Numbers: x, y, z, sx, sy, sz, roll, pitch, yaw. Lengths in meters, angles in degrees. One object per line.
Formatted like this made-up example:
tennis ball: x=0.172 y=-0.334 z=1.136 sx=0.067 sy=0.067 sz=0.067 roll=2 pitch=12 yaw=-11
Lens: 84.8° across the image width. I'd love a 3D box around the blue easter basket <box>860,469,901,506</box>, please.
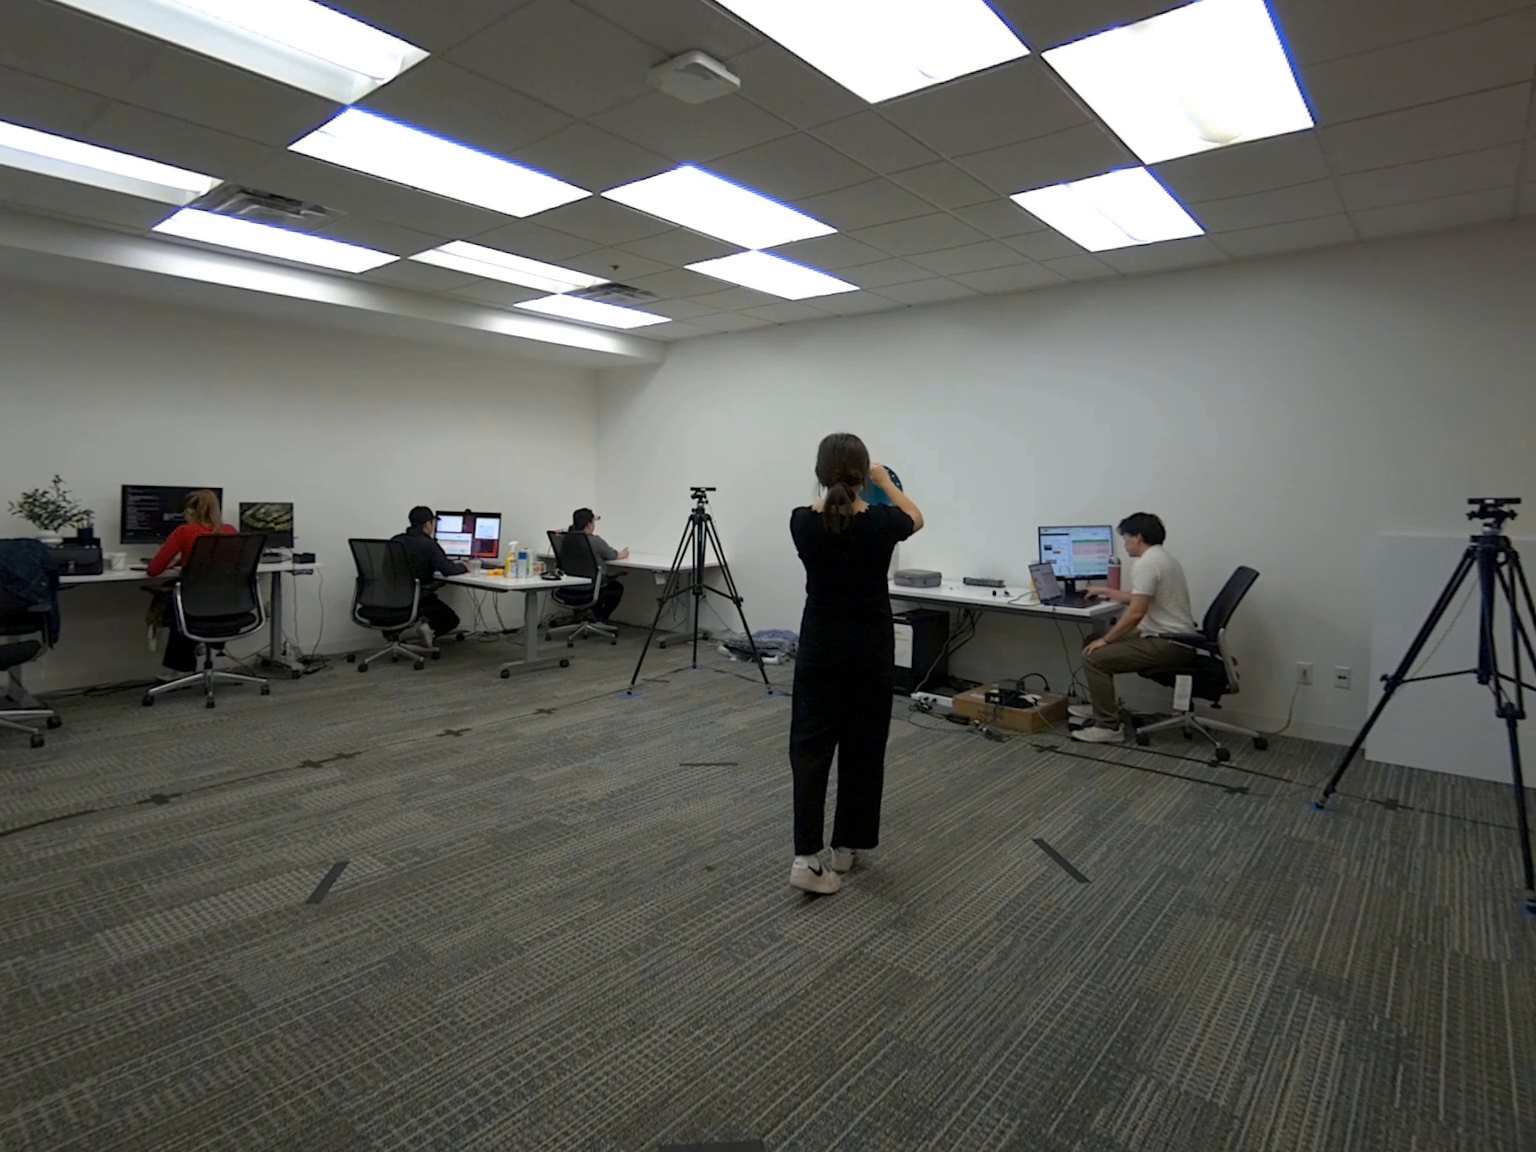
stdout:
blue easter basket: x=0.413 y=-0.338 z=3.498 sx=0.238 sy=0.244 sz=0.159 roll=-1 pitch=-2 yaw=-25
